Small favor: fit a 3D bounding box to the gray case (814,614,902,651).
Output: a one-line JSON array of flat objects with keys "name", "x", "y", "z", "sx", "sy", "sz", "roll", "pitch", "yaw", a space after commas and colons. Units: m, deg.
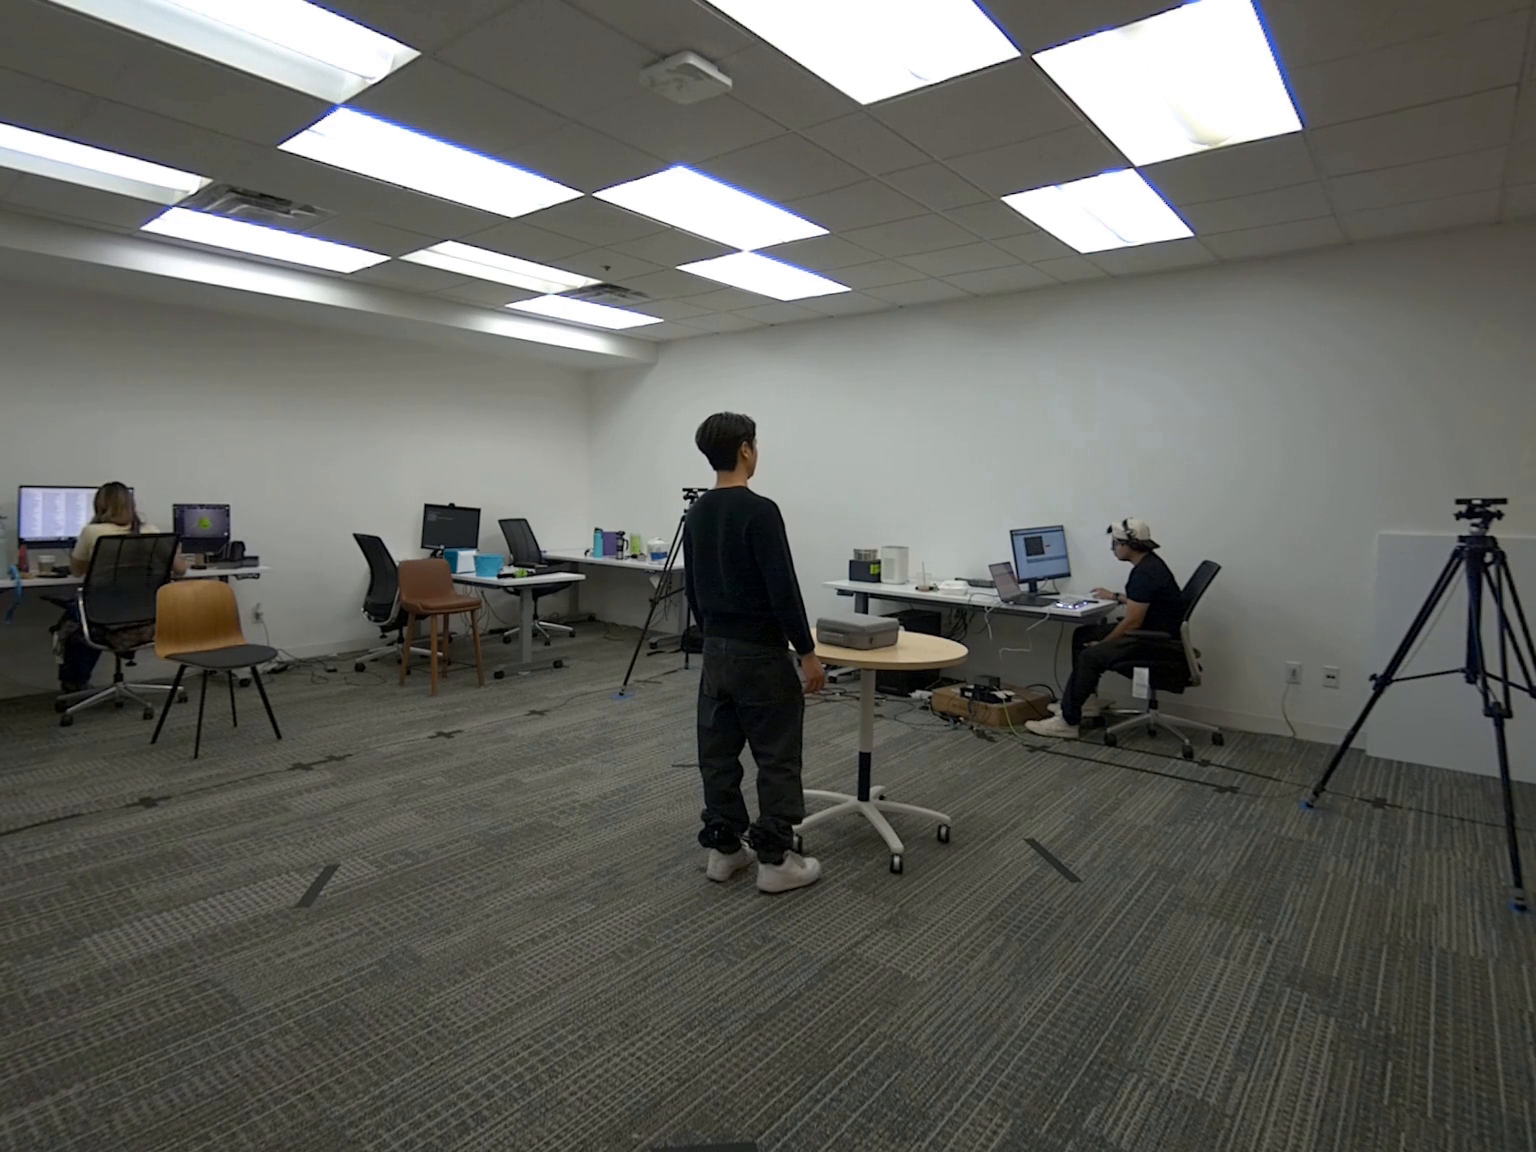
[{"name": "gray case", "x": 0.353, "y": 0.216, "z": 3.414, "sx": 0.266, "sy": 0.104, "sz": 0.253, "roll": 9, "pitch": 9, "yaw": 44}]
